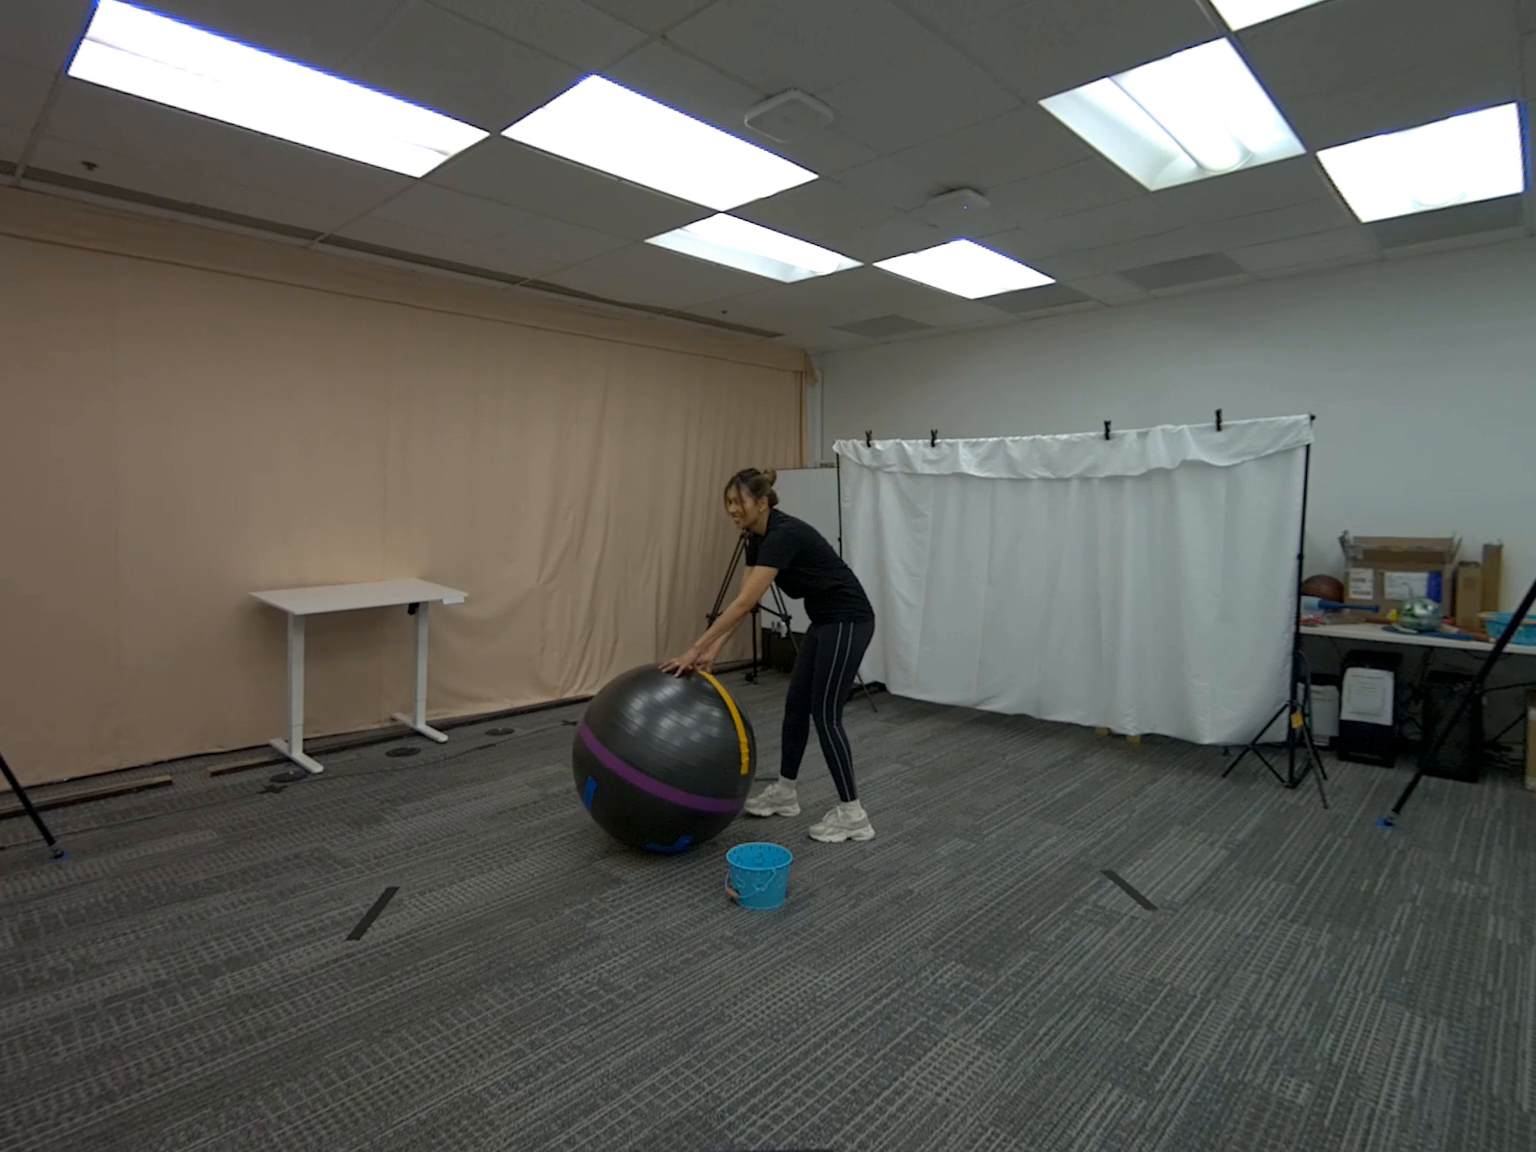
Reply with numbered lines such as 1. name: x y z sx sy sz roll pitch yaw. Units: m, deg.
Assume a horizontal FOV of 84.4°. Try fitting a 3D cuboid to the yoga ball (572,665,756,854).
1. yoga ball: -0.429 0.743 3.476 0.757 0.756 0.760 0 4 -2
